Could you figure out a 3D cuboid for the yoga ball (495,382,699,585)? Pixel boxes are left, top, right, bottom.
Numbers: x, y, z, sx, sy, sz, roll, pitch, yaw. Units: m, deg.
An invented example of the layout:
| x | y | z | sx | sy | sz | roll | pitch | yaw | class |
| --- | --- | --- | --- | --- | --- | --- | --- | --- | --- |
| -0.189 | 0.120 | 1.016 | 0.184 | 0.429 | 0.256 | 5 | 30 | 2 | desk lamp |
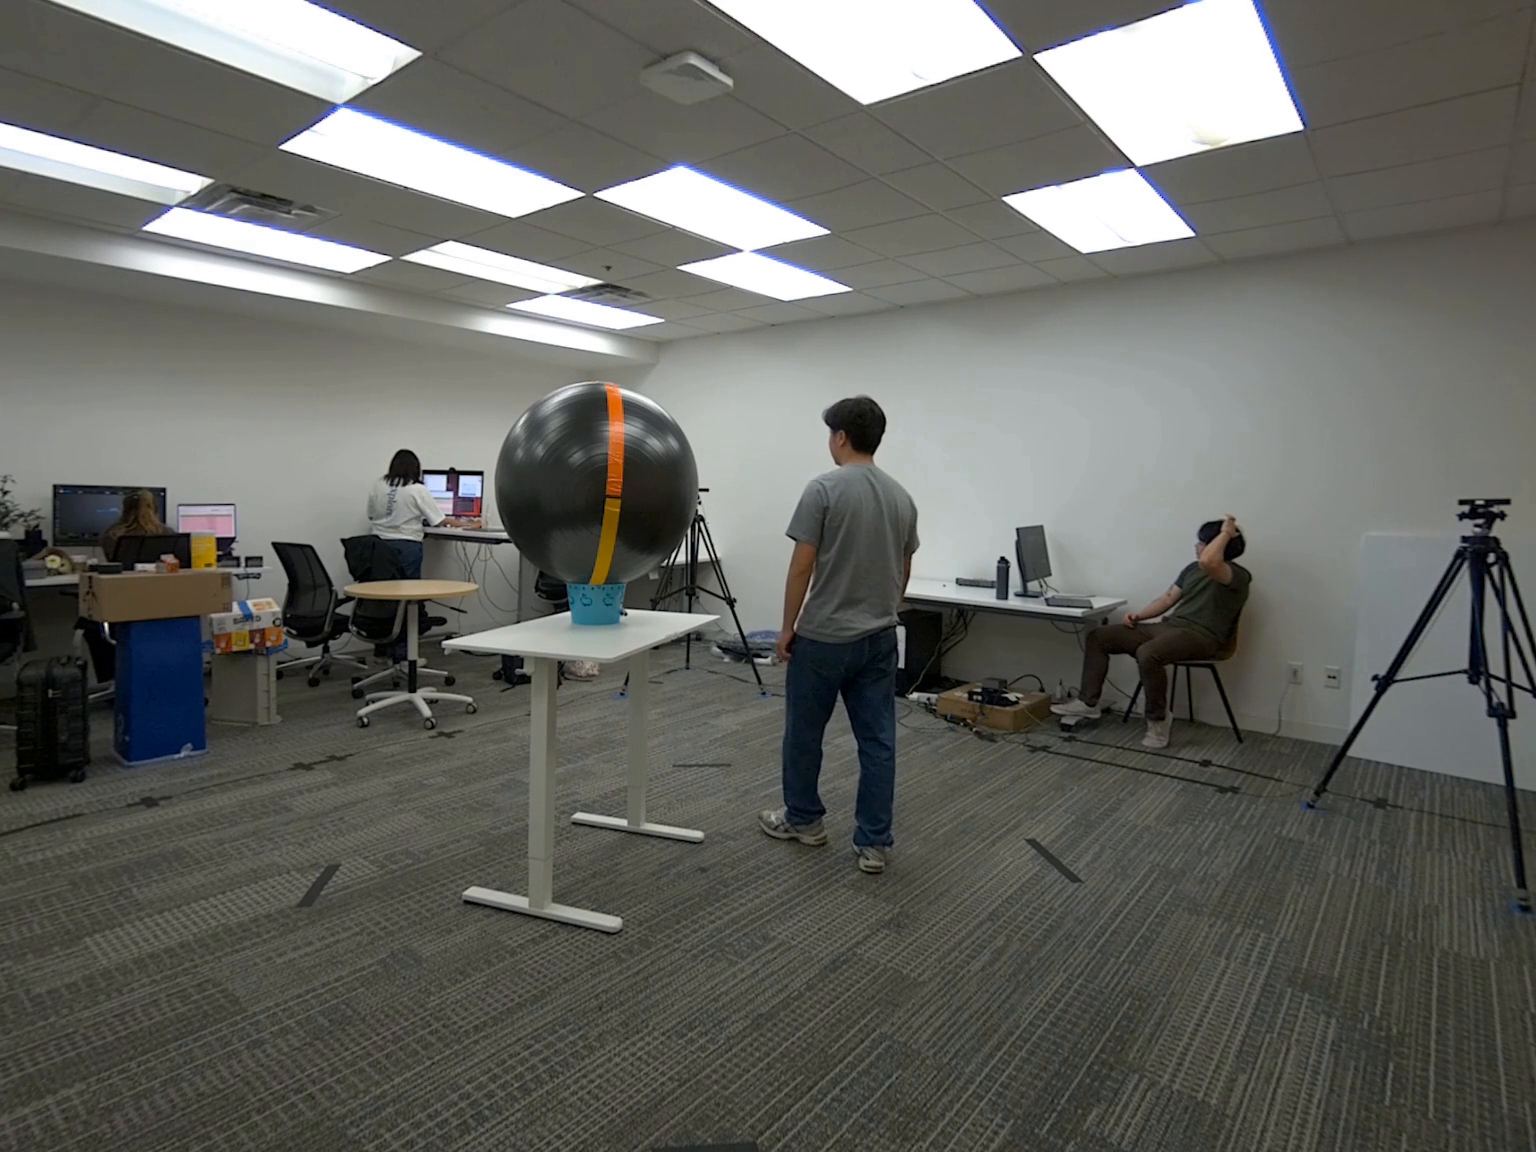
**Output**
| x | y | z | sx | sy | sz | roll | pitch | yaw | class |
| --- | --- | --- | --- | --- | --- | --- | --- | --- | --- |
| -0.659 | -0.337 | 3.189 | 0.757 | 0.755 | 0.762 | 1 | 4 | -2 | yoga ball |
